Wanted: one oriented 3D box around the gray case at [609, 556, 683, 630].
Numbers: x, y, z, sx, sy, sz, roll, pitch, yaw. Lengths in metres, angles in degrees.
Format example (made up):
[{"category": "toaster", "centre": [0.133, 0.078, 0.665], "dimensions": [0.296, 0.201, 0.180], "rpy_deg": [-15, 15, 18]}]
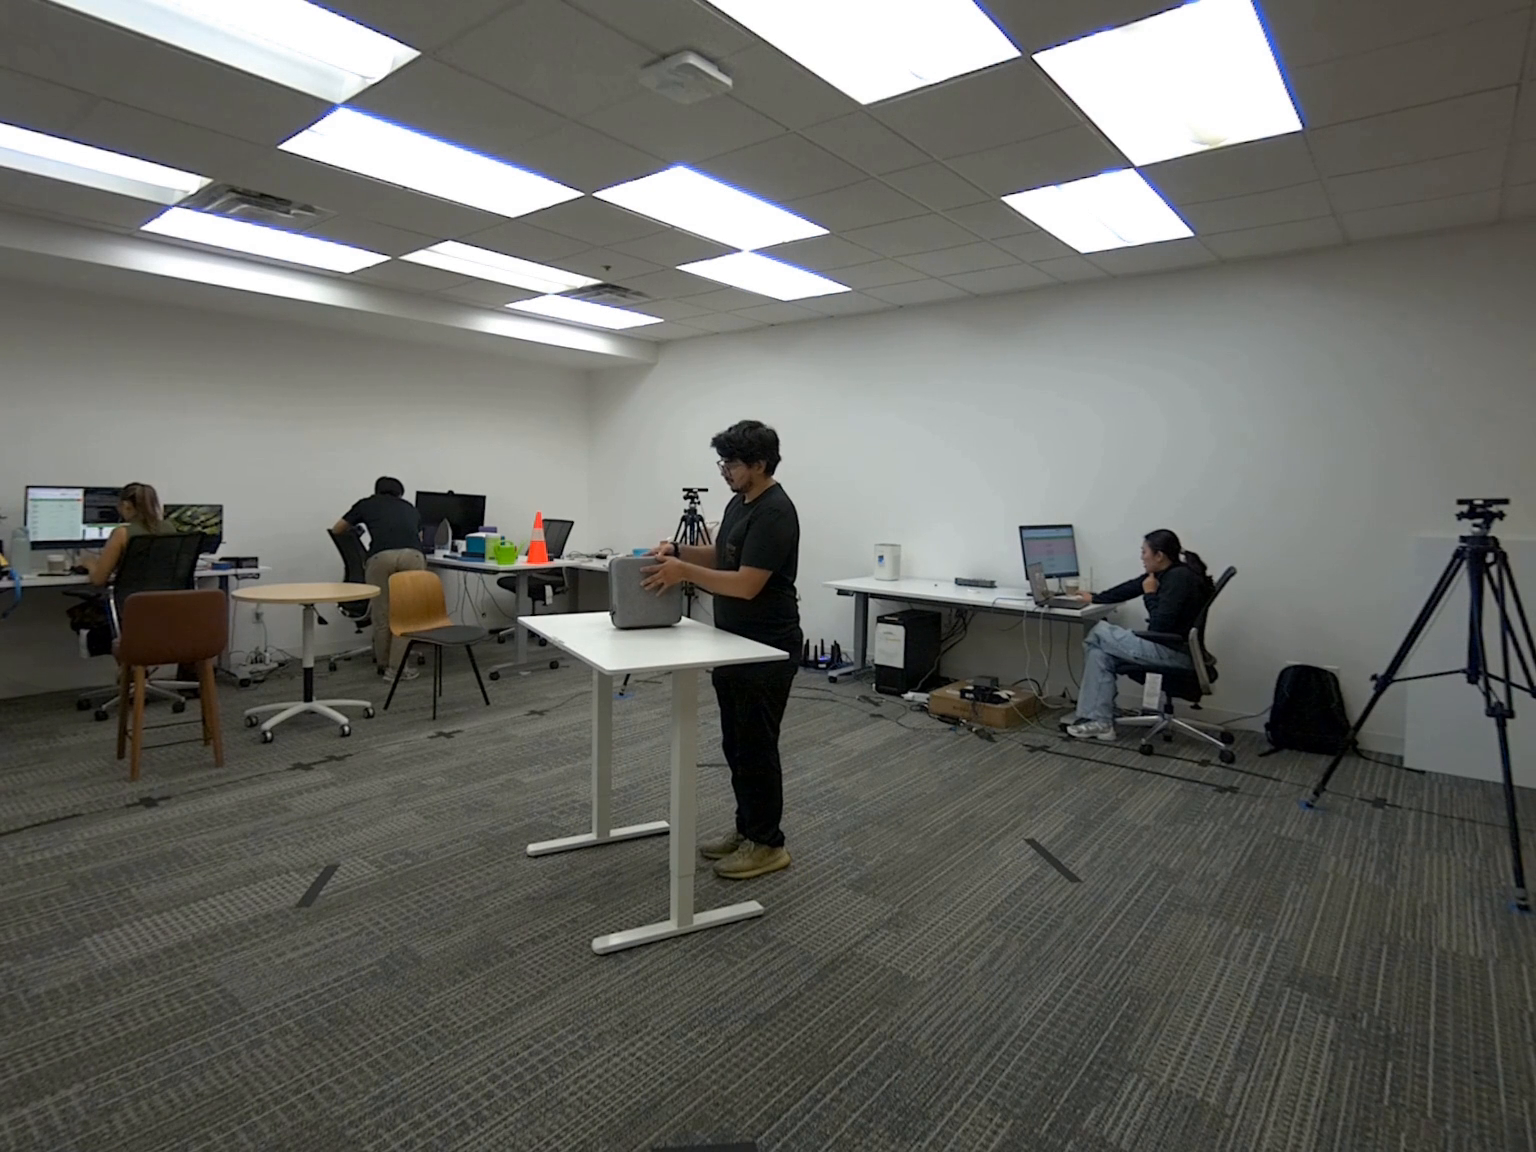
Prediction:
[{"category": "gray case", "centre": [-0.455, 0.051, 3.090], "dimensions": [0.251, 0.261, 0.106], "rpy_deg": [-2, -2, -23]}]
